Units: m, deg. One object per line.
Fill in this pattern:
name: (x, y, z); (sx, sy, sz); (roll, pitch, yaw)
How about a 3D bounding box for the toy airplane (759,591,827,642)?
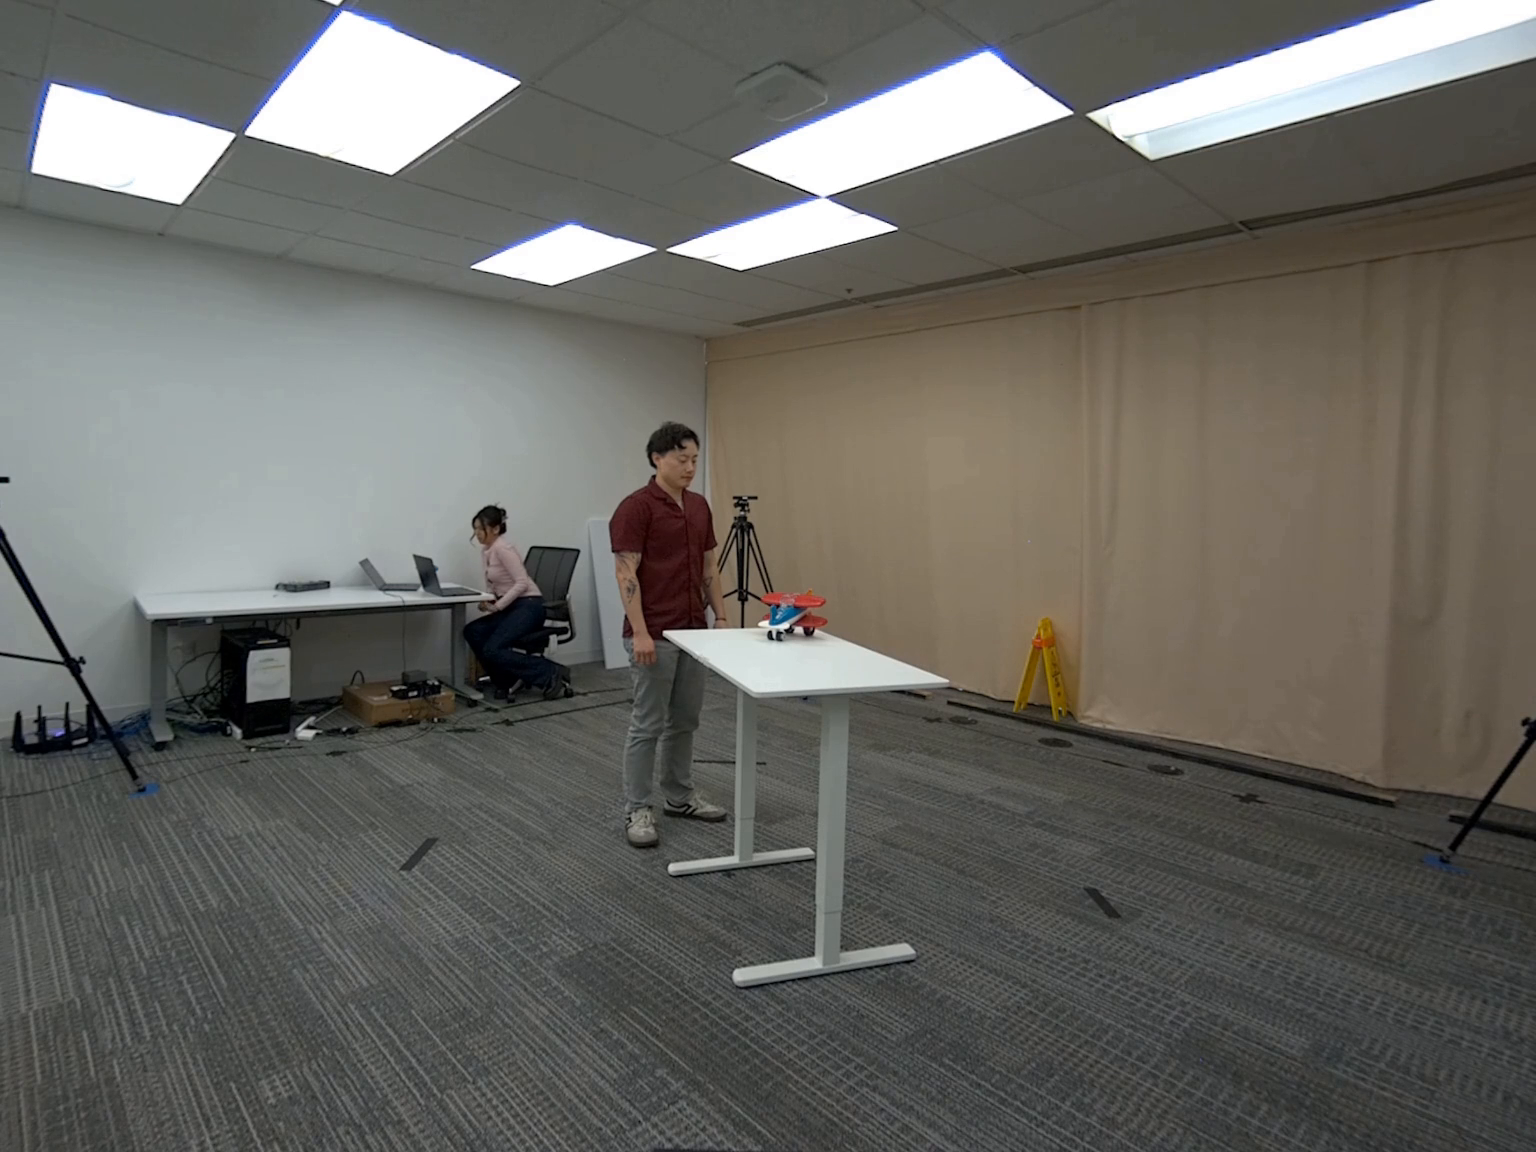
toy airplane: (0.088, 0.151, 3.085); (0.252, 0.156, 0.259); (2, 5, 4)
